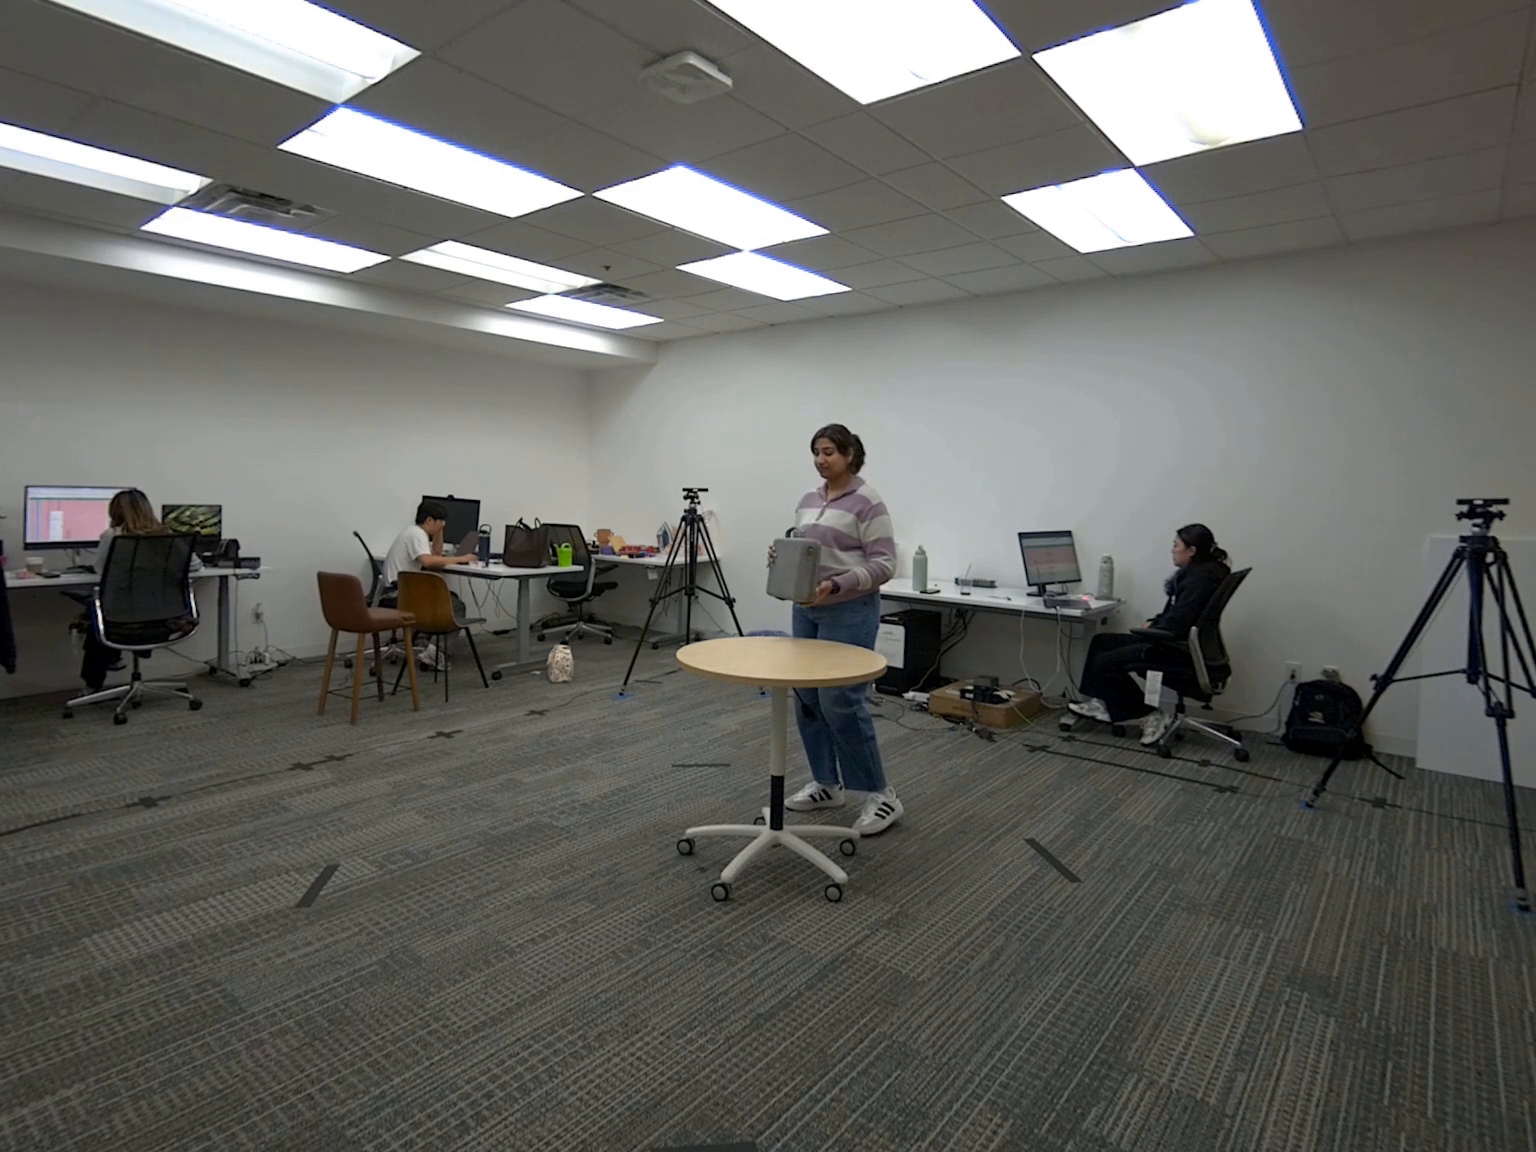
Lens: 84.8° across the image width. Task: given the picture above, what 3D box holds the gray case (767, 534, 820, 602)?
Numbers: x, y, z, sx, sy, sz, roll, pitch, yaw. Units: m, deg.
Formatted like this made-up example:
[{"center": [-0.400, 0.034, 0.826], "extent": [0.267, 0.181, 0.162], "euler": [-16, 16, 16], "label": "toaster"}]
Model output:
[{"center": [0.109, -0.036, 3.455], "extent": [0.102, 0.261, 0.263], "euler": [7, -2, -24], "label": "gray case"}]
